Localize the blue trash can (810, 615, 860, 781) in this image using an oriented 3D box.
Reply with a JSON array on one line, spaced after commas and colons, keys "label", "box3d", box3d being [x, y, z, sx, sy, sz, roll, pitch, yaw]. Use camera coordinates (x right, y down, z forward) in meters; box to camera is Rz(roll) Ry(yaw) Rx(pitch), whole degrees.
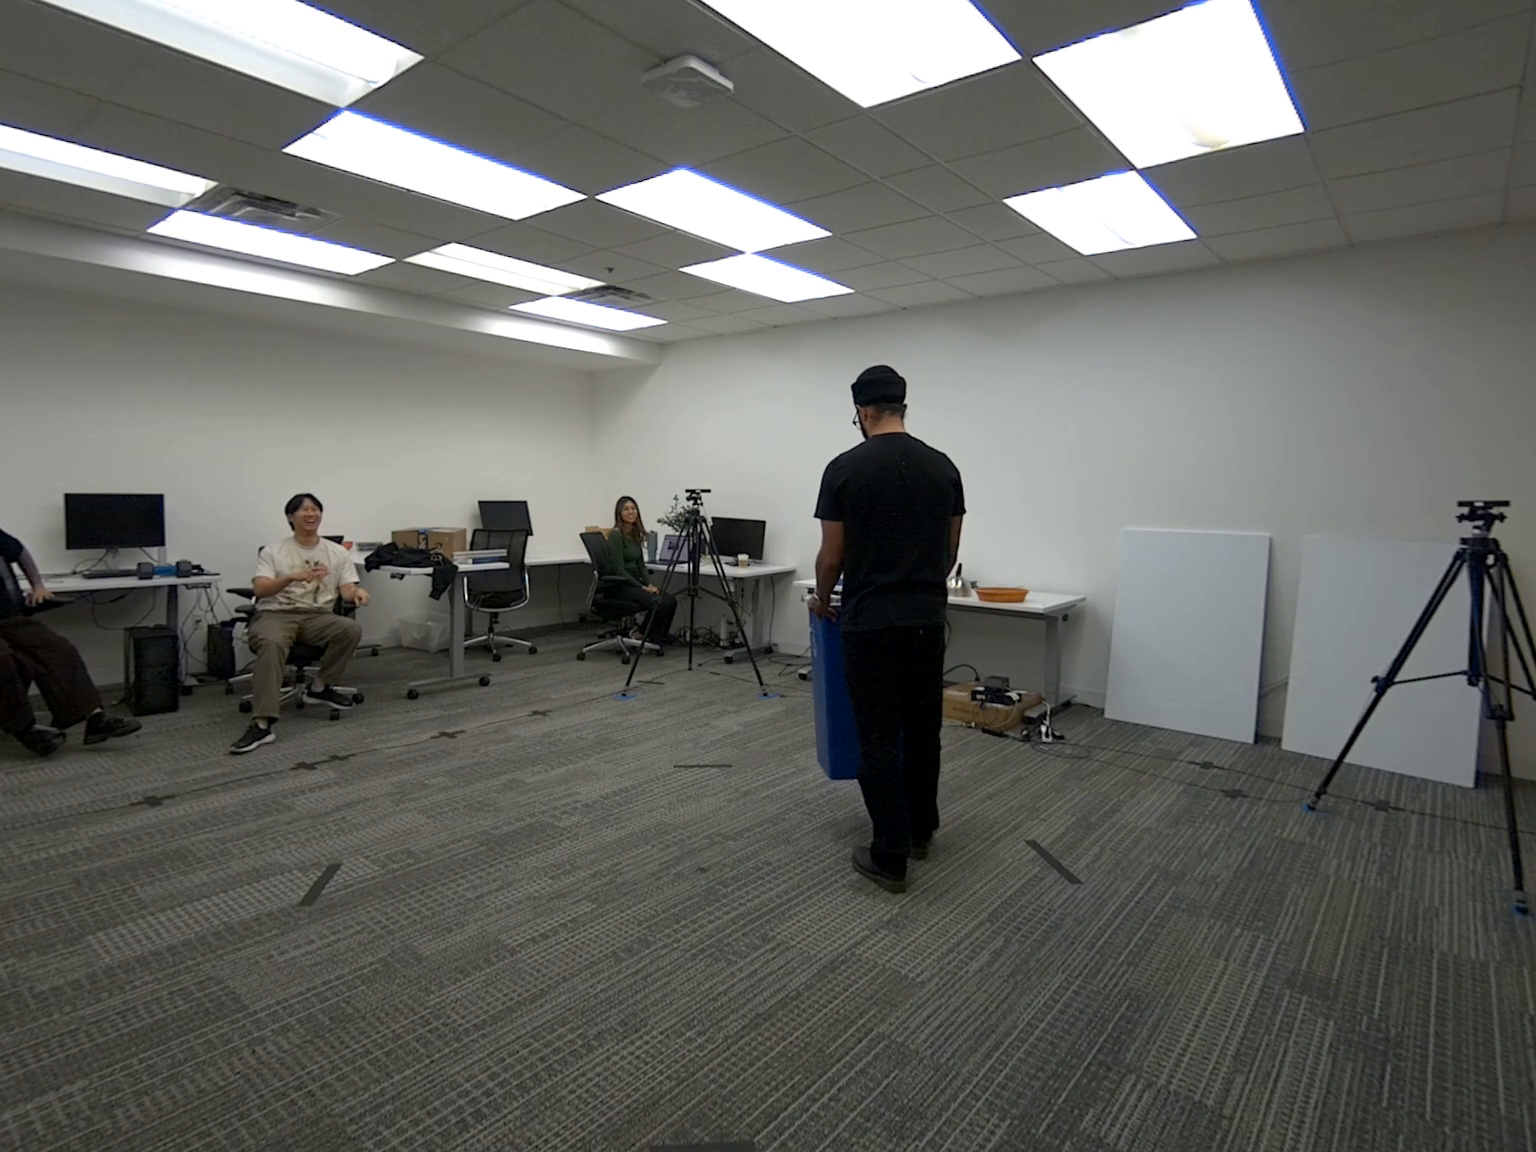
[{"label": "blue trash can", "box3d": [0.370, 0.453, 3.563, 0.376, 0.713, 0.376, -1, 1, -6]}]
